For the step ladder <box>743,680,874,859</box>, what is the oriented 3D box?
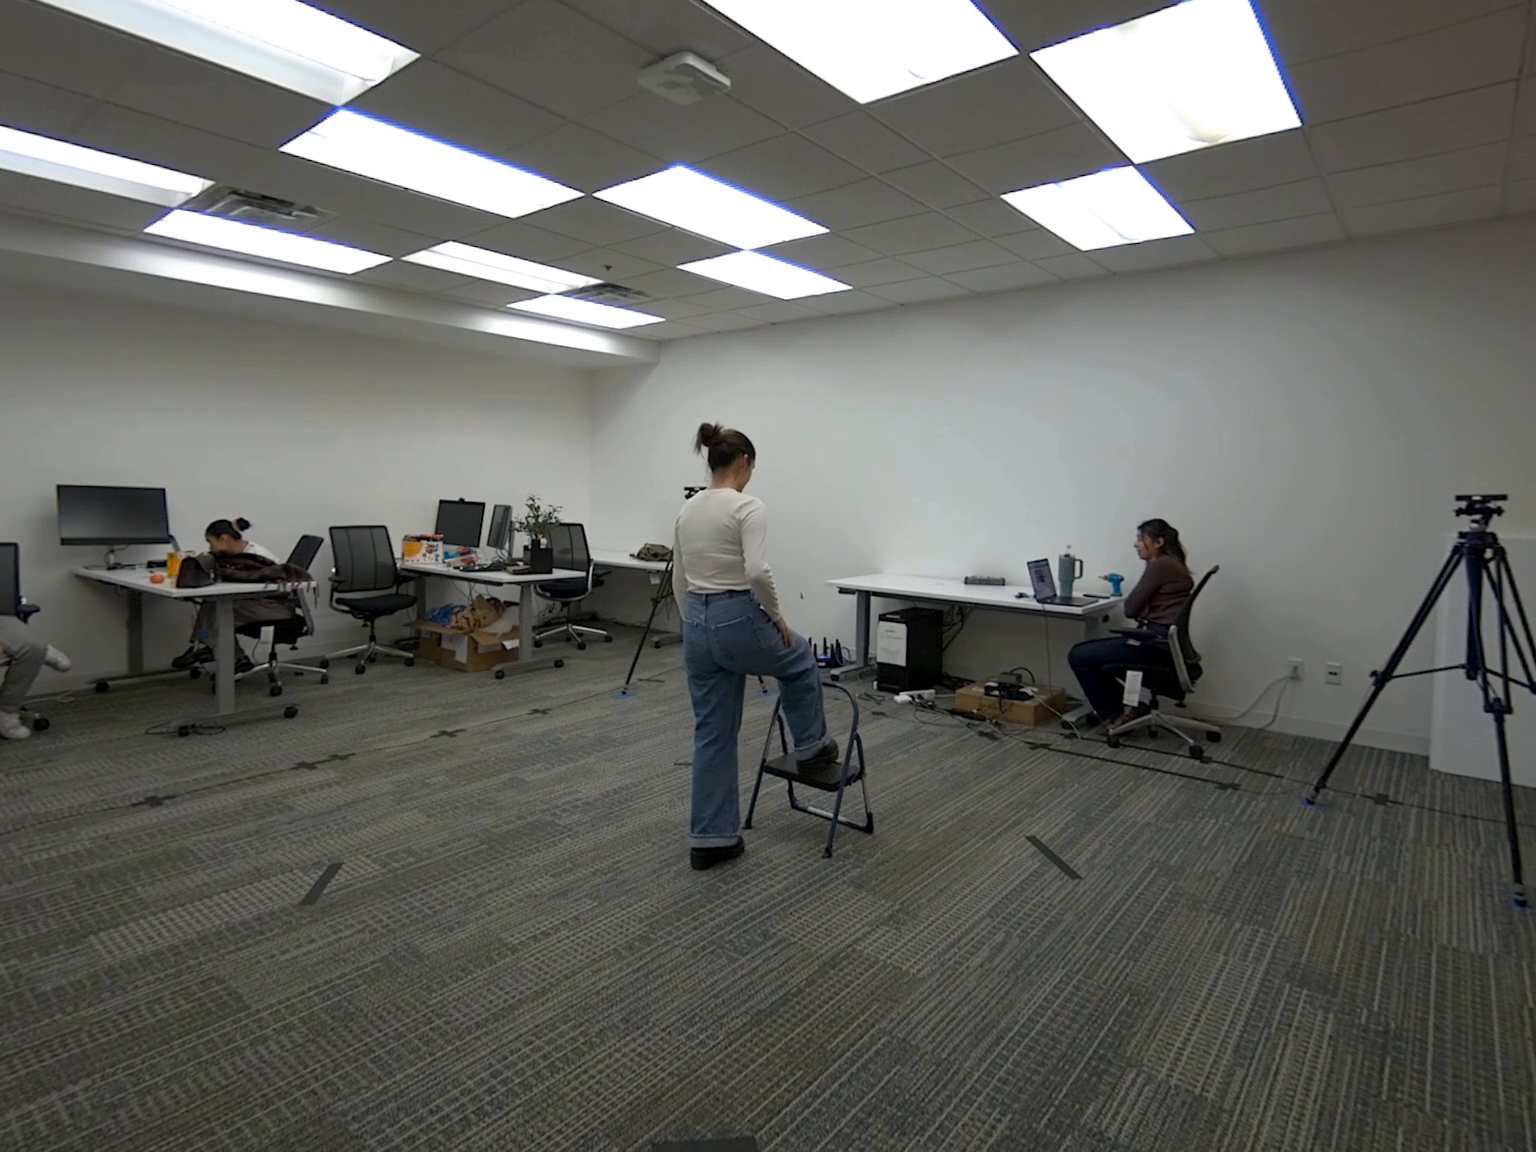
[{"bbox_3d":[0.165,0.734,3.461,0.445,0.604,0.339,5,5,39],"label":"step ladder"}]
